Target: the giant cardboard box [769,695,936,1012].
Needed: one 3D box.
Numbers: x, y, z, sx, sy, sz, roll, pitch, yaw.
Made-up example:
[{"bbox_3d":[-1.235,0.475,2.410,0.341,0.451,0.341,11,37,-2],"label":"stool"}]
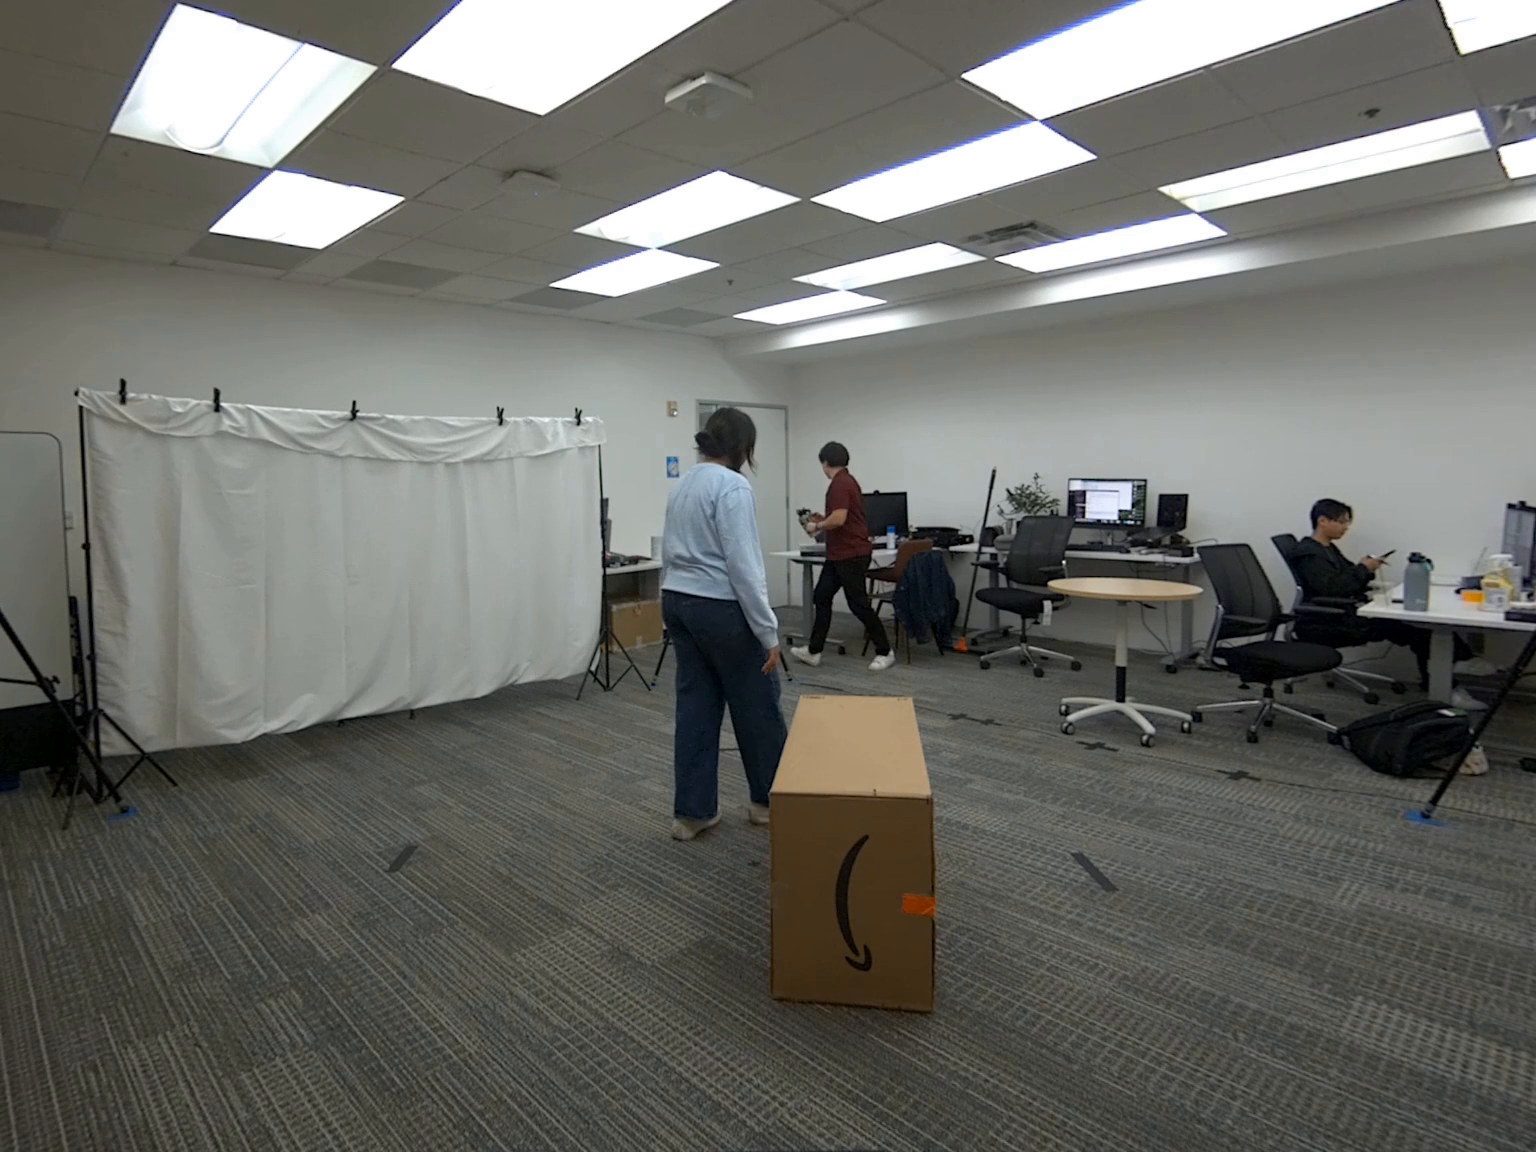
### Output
[{"bbox_3d":[0.284,0.790,2.730,0.430,0.575,1.021,0,5,7],"label":"giant cardboard box"}]
